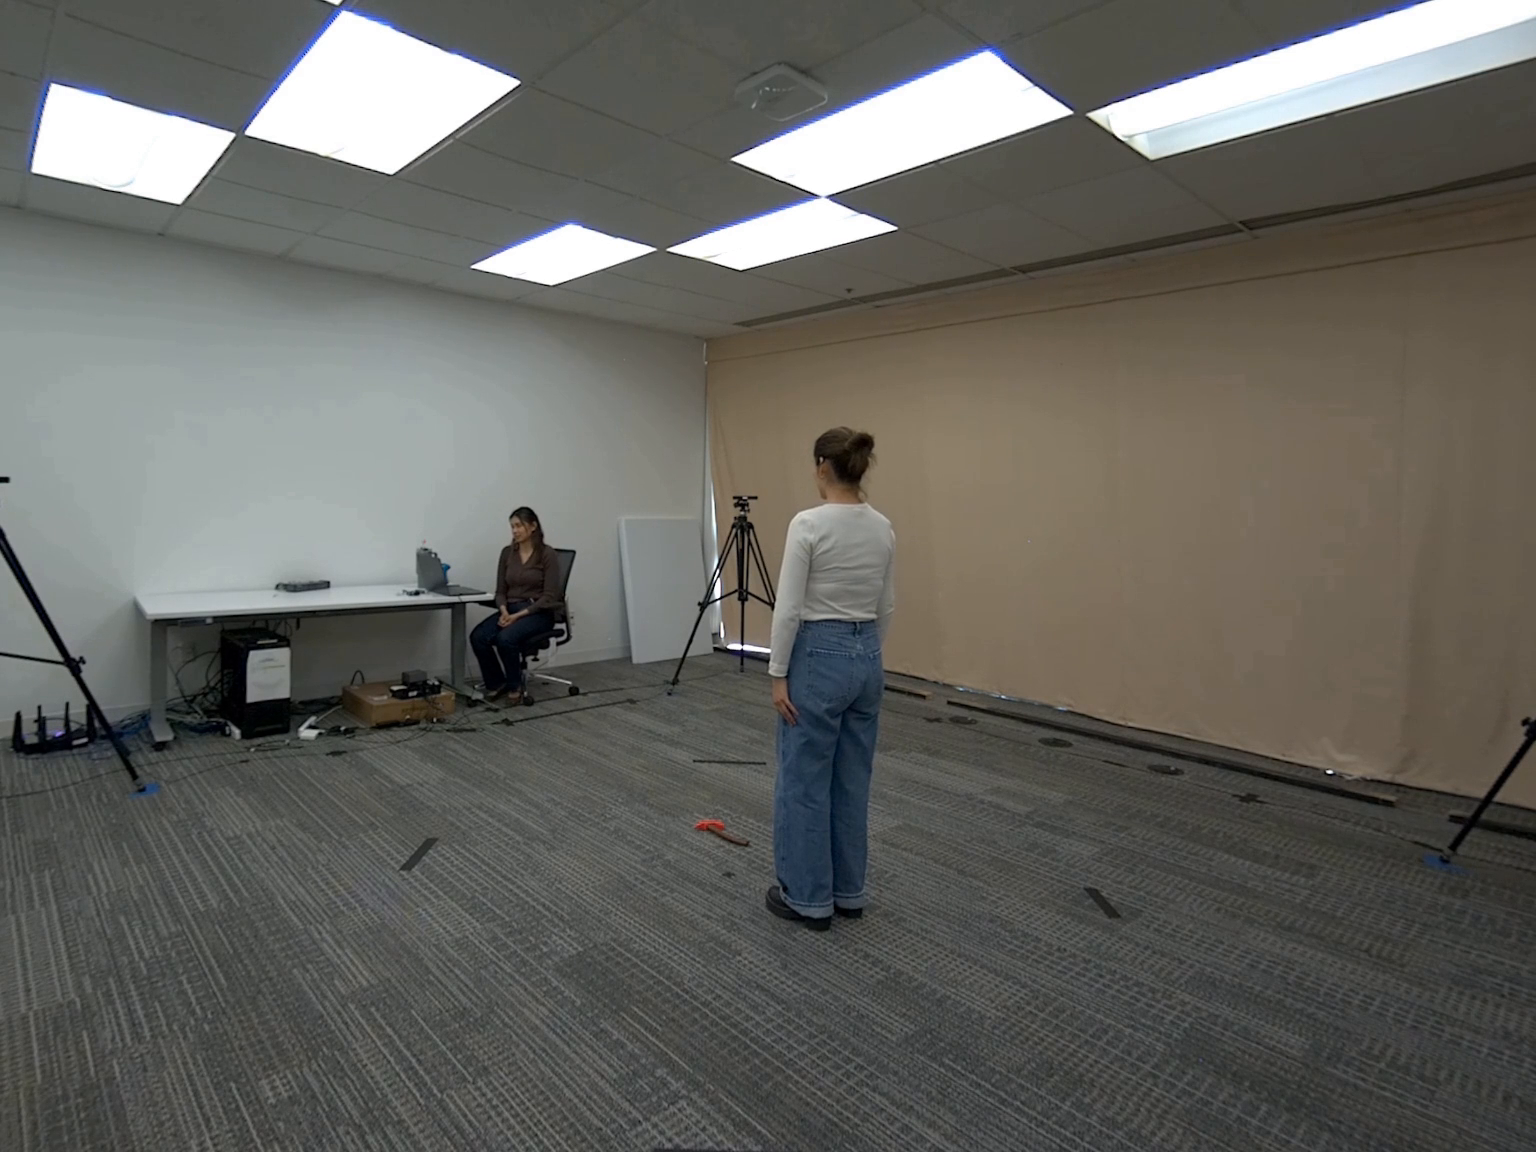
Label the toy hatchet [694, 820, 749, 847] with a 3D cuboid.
[{"bbox_3d":[-0.174,1.057,3.479,0.277,0.029,0.128,7,3,36],"label":"toy hatchet"}]
